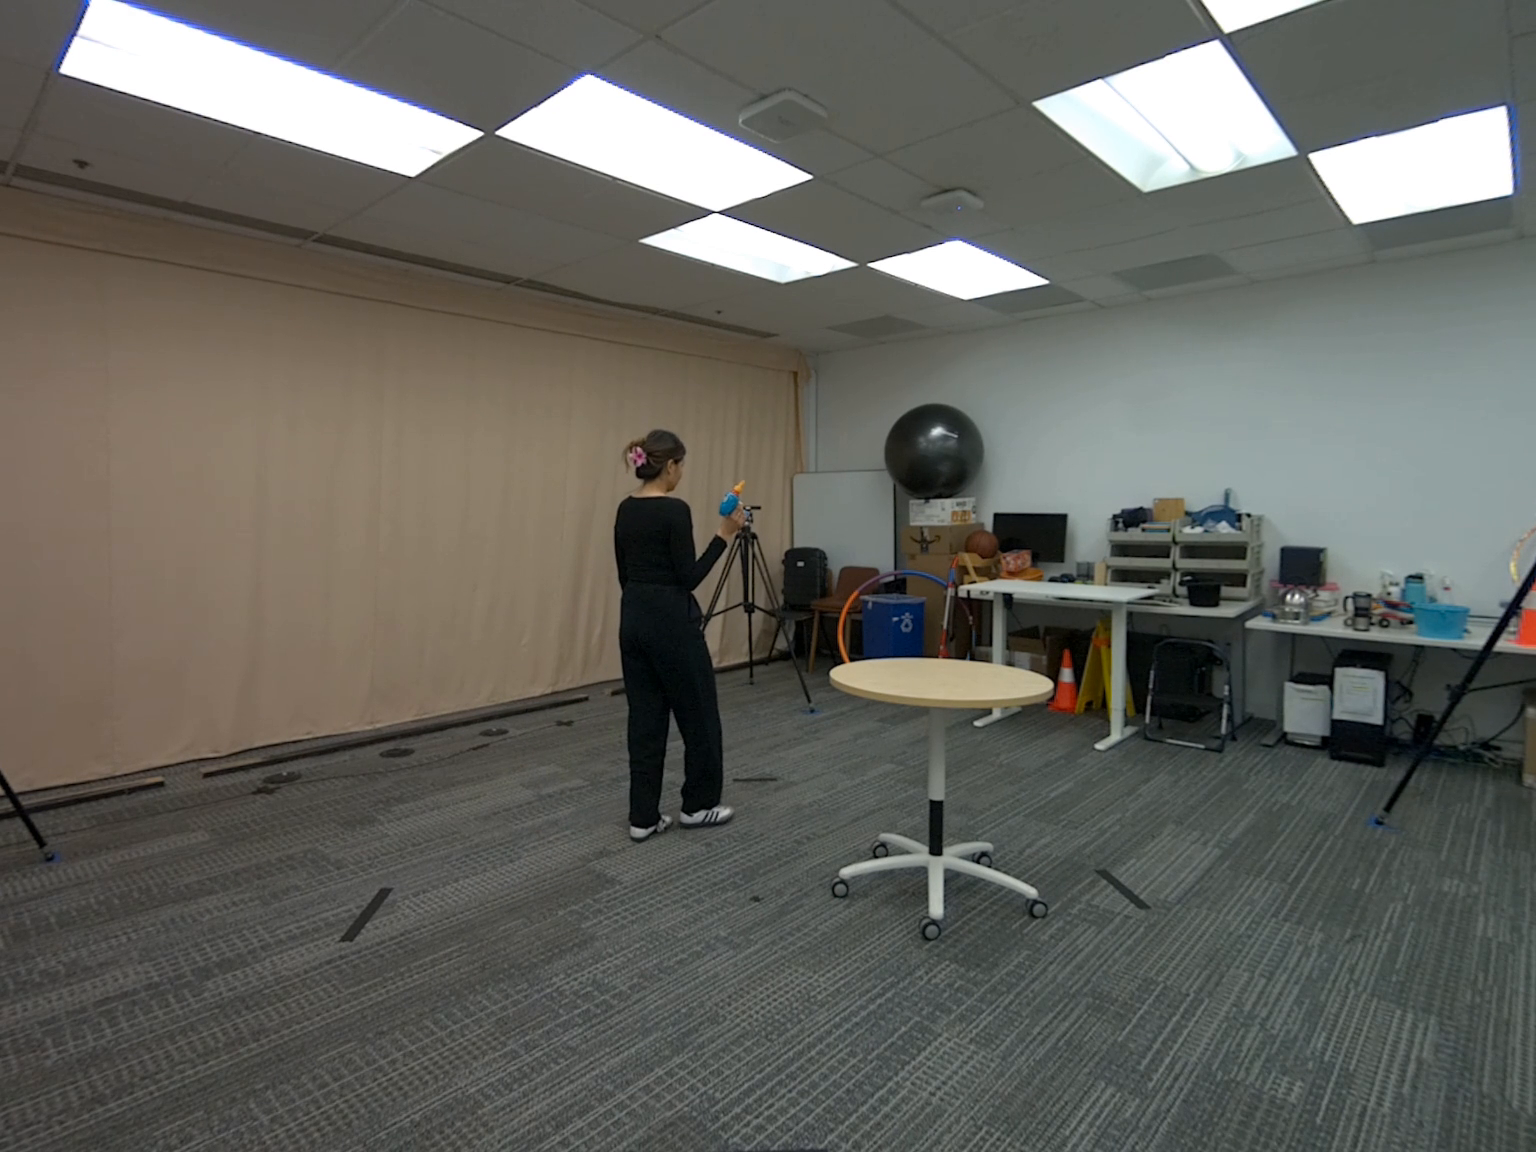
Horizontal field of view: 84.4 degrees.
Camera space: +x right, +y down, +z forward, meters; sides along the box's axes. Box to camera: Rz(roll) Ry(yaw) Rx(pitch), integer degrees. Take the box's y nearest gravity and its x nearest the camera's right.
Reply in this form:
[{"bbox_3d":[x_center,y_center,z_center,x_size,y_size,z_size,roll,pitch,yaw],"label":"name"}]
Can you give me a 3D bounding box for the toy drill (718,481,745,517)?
[{"bbox_3d":[-0.117,-0.302,3.443,0.141,0.170,0.063,33,-8,-39],"label":"toy drill"}]
